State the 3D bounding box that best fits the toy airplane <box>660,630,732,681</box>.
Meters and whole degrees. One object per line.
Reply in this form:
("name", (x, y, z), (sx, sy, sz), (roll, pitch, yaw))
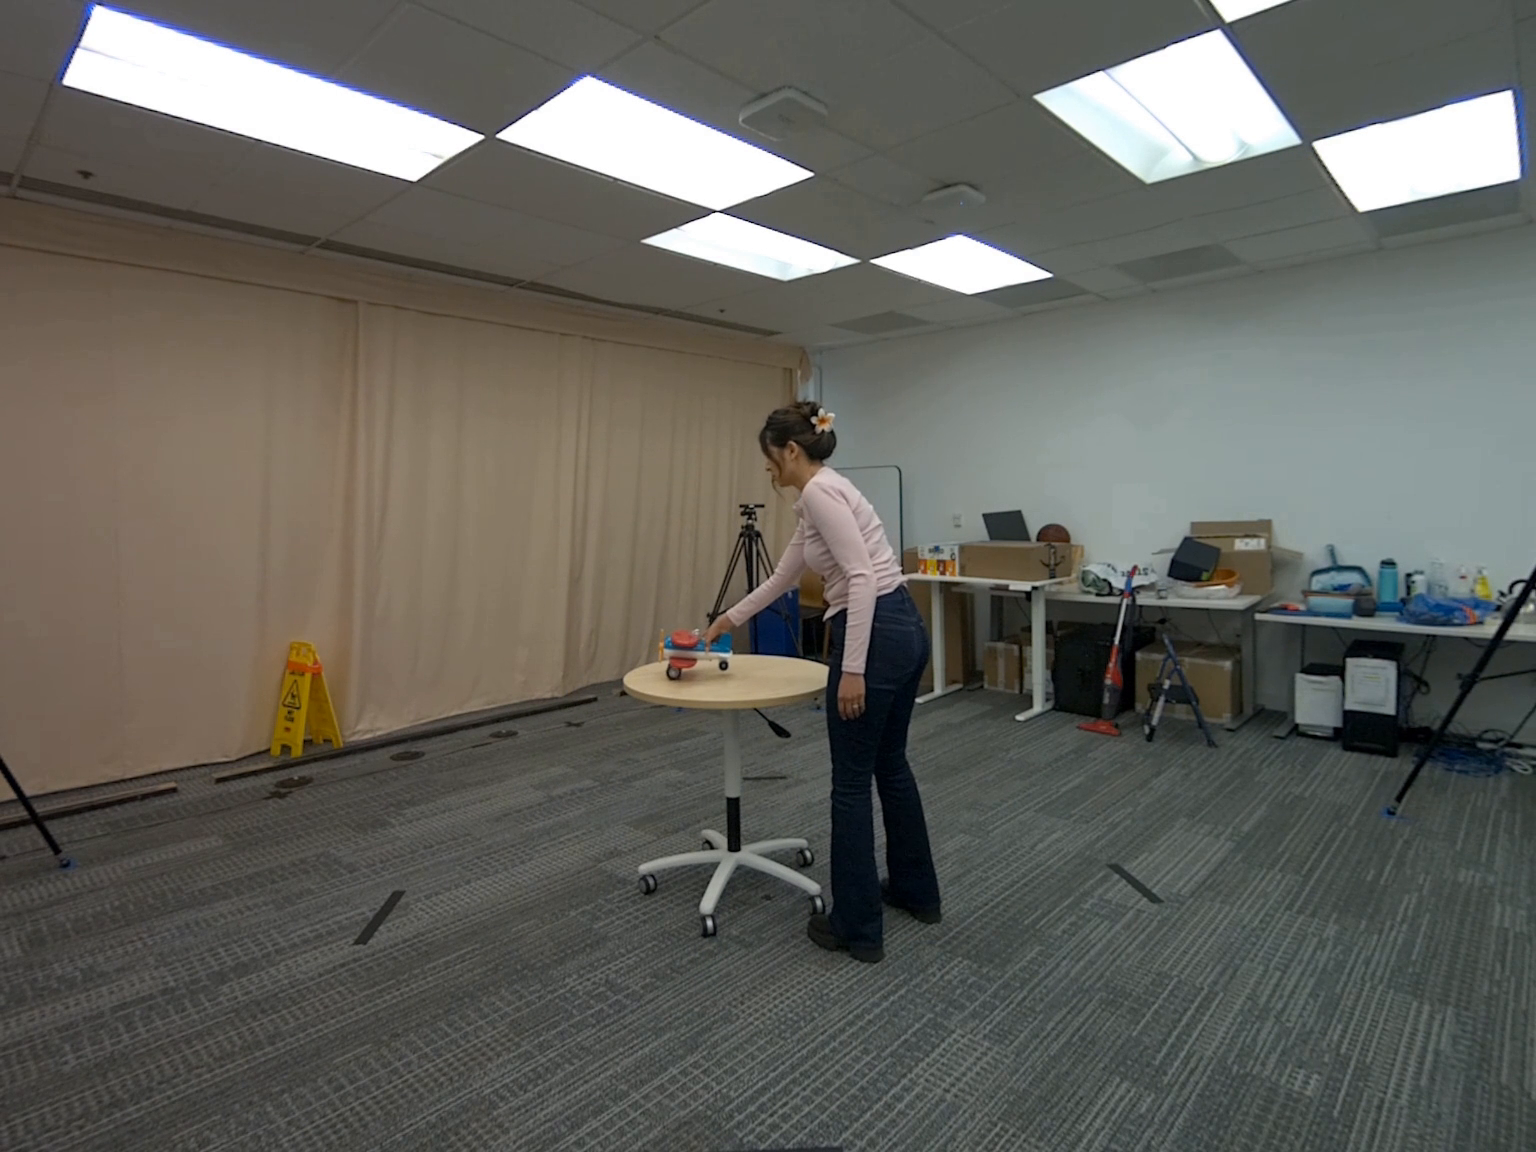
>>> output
("toy airplane", (-0.259, 0.270, 3.018), (0.253, 0.156, 0.258), (-12, 6, -29))
